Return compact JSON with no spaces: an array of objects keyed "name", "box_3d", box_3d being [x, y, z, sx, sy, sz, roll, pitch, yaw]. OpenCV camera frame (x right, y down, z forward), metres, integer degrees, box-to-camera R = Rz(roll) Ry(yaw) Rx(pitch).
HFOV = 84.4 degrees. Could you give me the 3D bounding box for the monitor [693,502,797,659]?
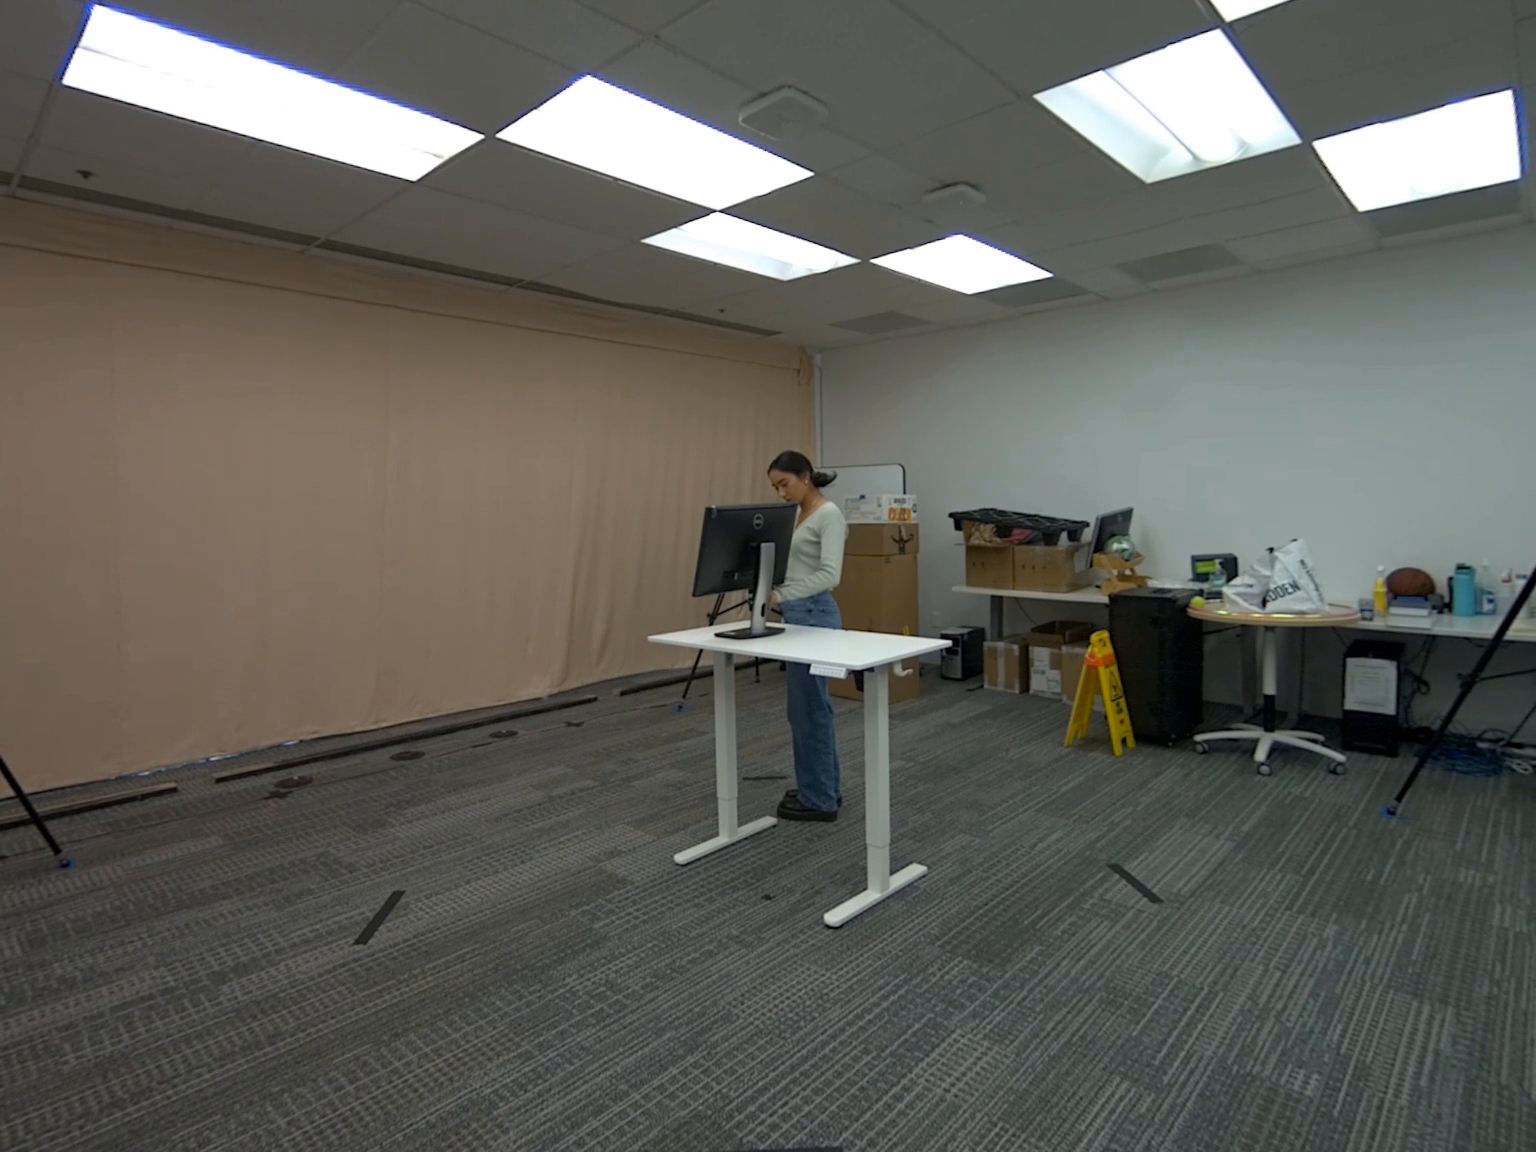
[{"name":"monitor","box_3d":[-0.058,-0.020,3.307,0.193,0.521,0.523,4,7,40]}]
